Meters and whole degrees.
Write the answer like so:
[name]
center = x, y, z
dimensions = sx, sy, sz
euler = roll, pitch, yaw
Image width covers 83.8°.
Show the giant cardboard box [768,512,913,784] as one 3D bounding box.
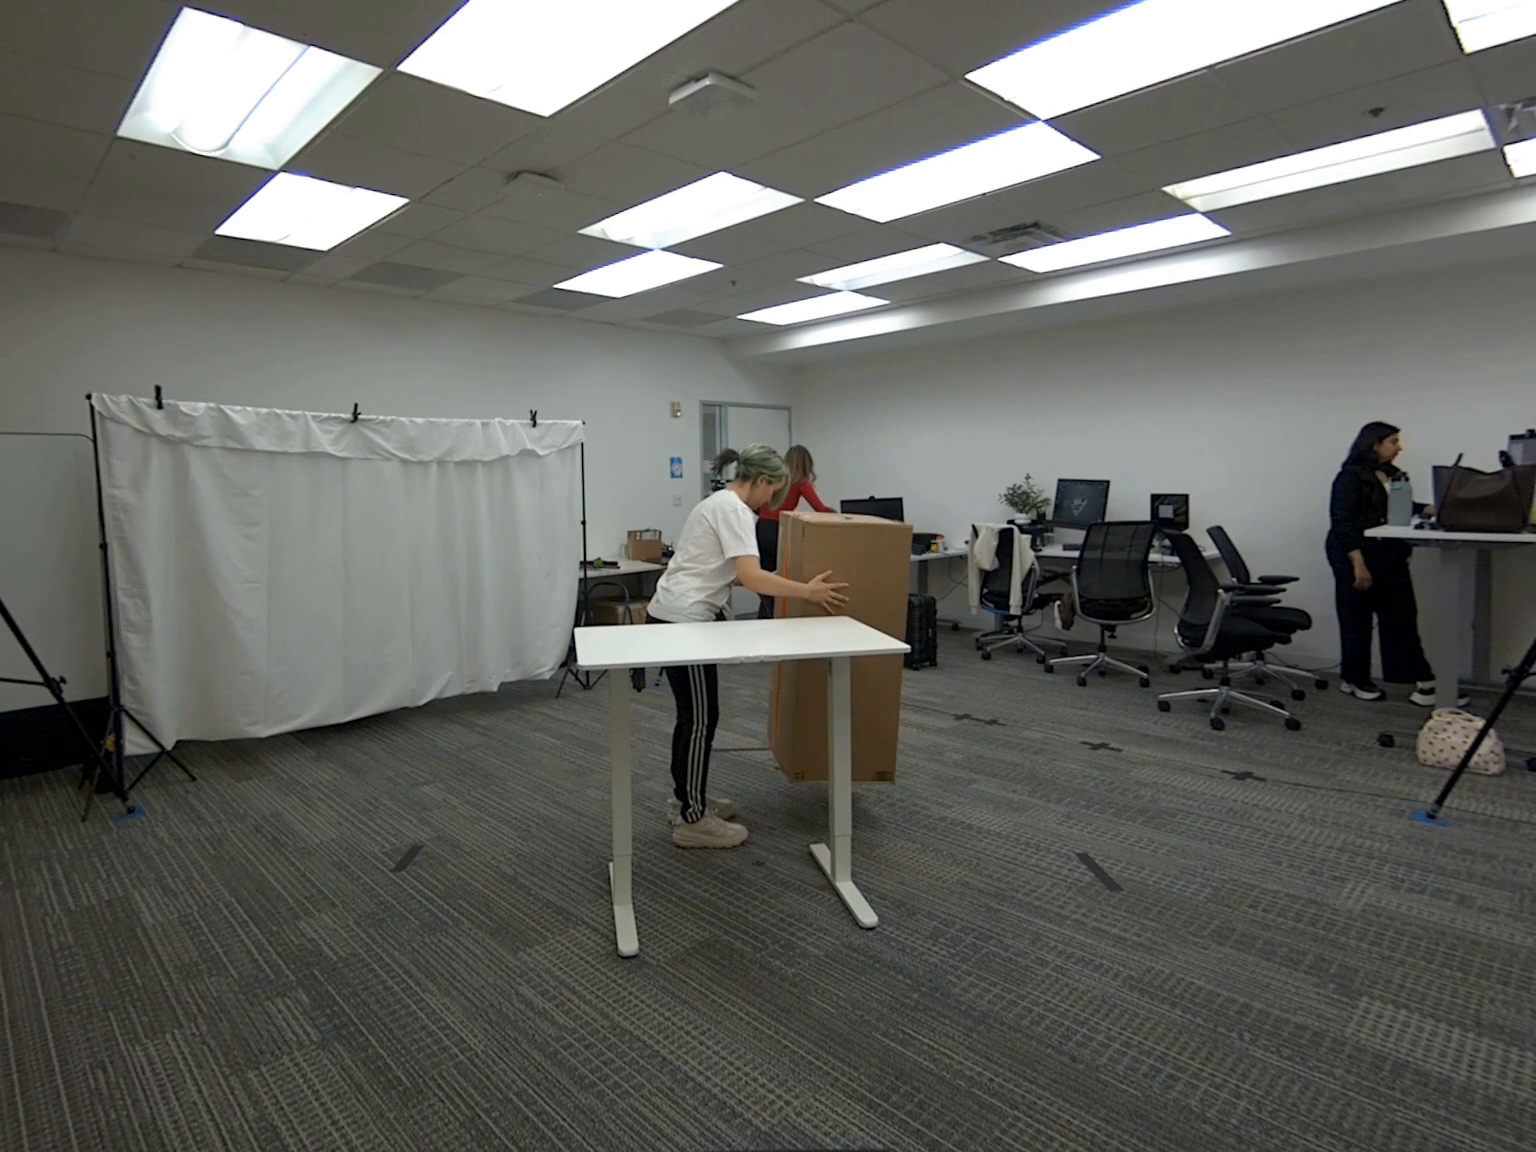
[giant cardboard box]
center = 0.270, 0.275, 3.563
dimensions = 0.443, 1.023, 0.591
euler = 3, 5, -8
